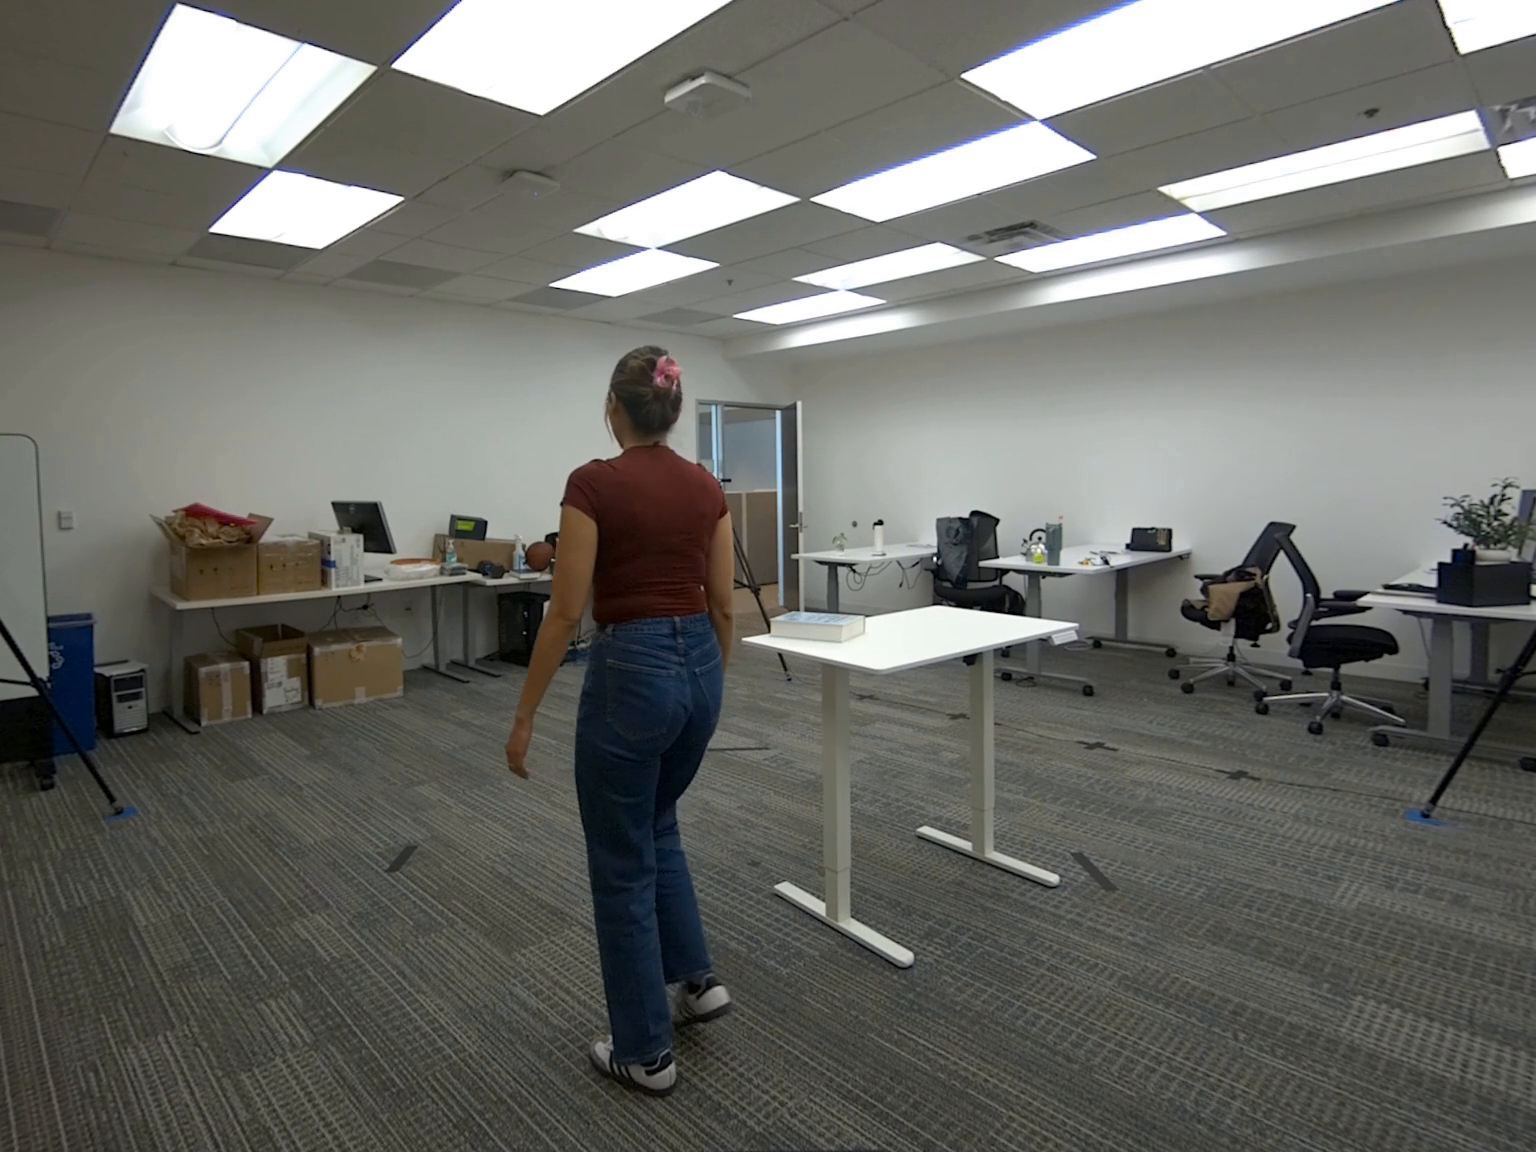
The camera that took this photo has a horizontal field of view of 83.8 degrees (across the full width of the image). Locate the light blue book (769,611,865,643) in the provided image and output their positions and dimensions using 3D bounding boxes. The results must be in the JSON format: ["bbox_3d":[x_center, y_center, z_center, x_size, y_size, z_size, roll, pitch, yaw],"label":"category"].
[{"bbox_3d":[0.164,0.163,2.807,0.268,0.059,0.187,3,7,31],"label":"light blue book"}]
